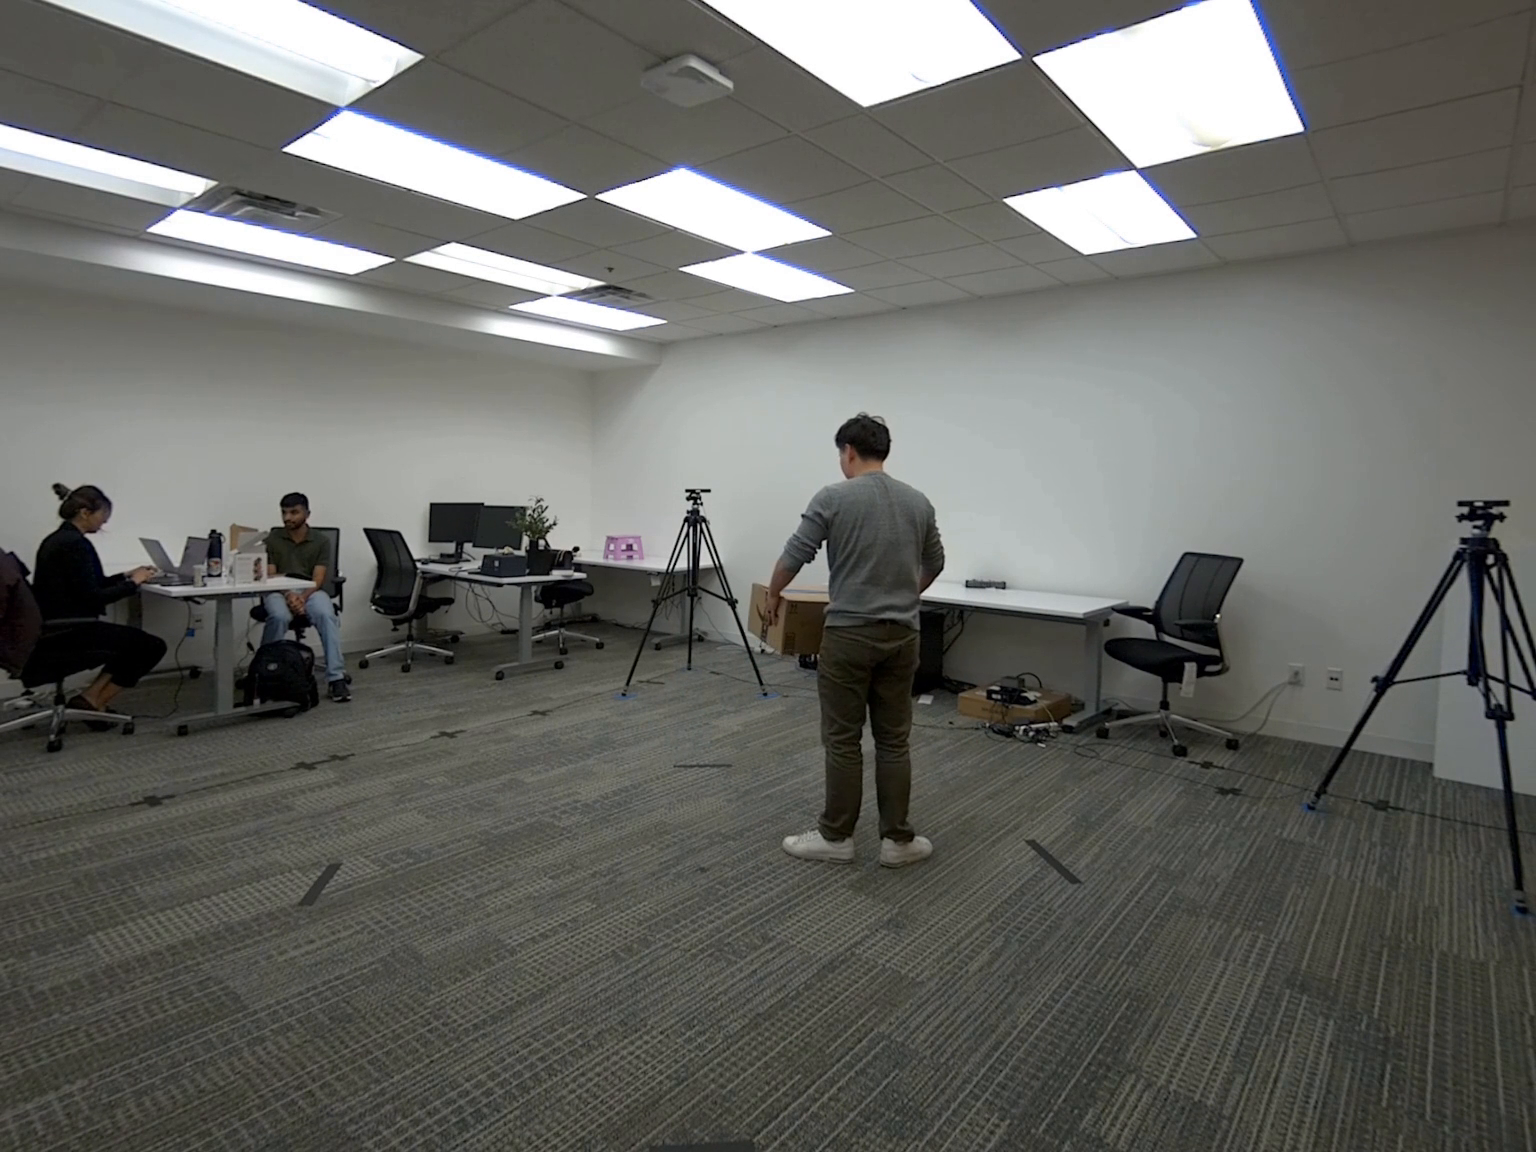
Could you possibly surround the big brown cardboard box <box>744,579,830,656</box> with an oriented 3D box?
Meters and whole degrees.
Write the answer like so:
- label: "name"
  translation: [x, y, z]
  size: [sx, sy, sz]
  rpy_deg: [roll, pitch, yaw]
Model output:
- label: "big brown cardboard box"
  translation: [0.254, 0.173, 3.570]
  size: [0.577, 0.232, 0.429]
  rpy_deg: [2, 7, -20]
